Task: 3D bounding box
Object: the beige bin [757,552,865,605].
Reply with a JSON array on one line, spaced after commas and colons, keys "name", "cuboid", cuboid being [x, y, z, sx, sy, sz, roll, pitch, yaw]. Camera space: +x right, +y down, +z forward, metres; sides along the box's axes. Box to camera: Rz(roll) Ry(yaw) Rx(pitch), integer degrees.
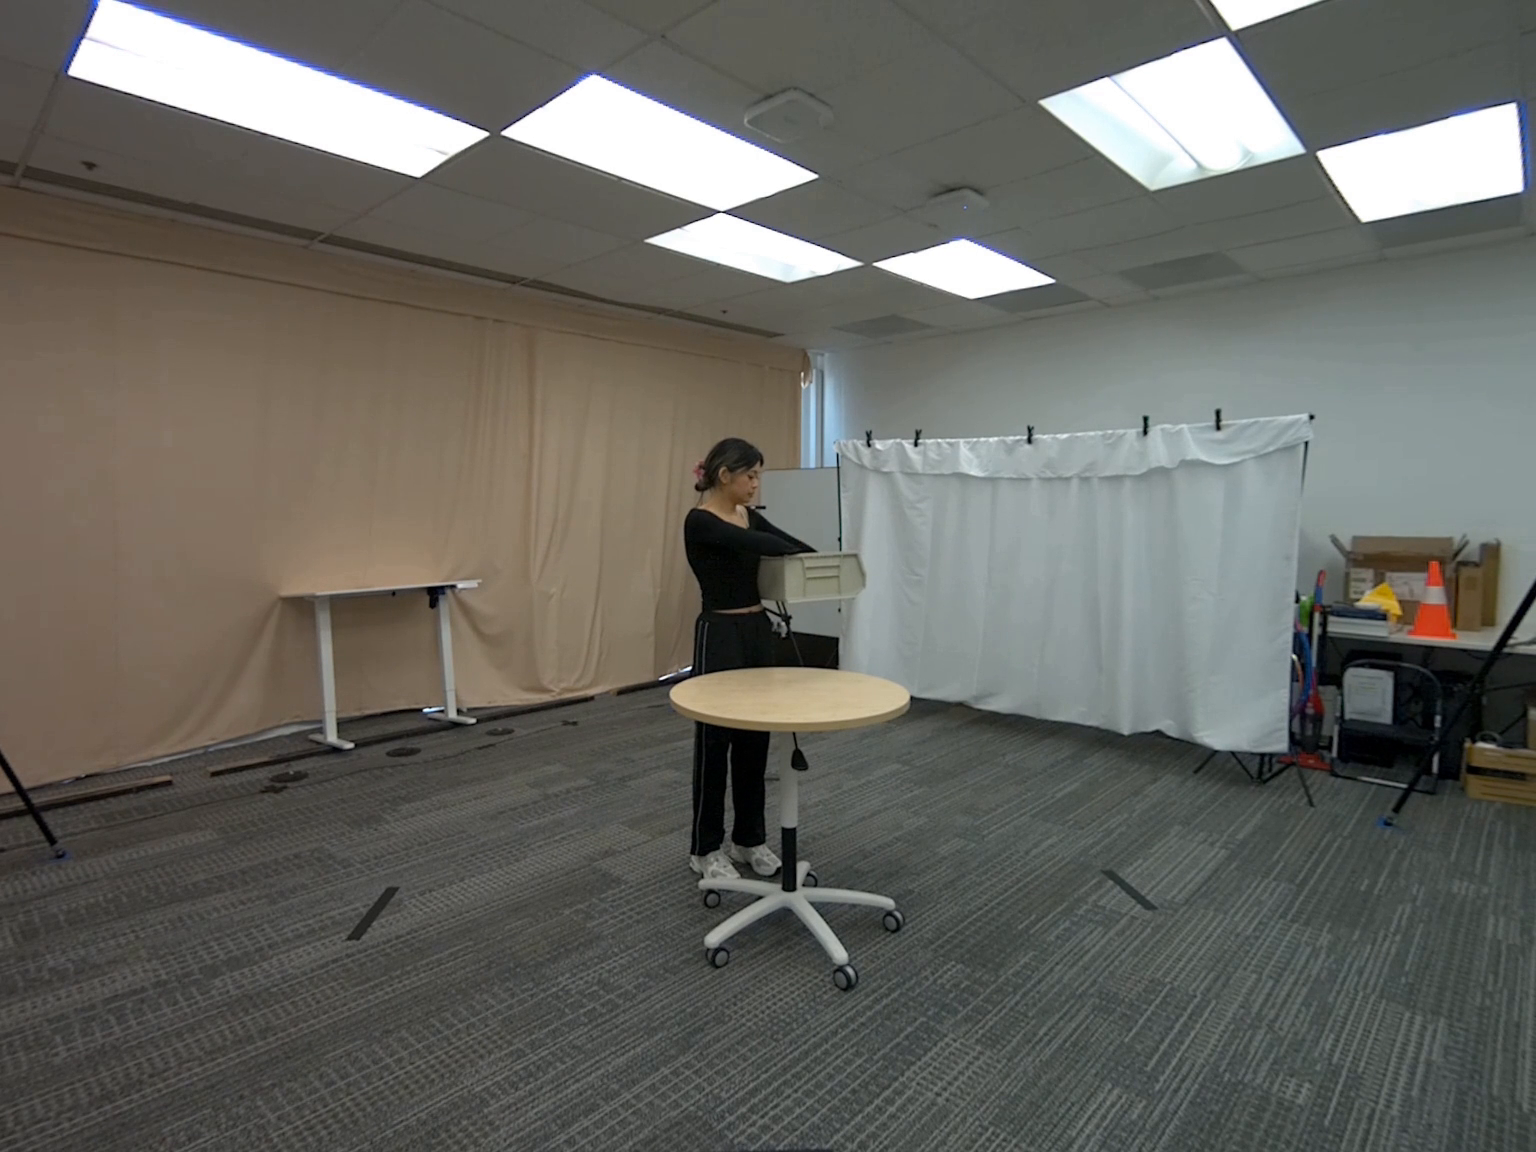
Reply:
[{"name": "beige bin", "cuboid": [0.113, 0.001, 3.325, 0.367, 0.189, 0.434, -3, 3, -30]}]
